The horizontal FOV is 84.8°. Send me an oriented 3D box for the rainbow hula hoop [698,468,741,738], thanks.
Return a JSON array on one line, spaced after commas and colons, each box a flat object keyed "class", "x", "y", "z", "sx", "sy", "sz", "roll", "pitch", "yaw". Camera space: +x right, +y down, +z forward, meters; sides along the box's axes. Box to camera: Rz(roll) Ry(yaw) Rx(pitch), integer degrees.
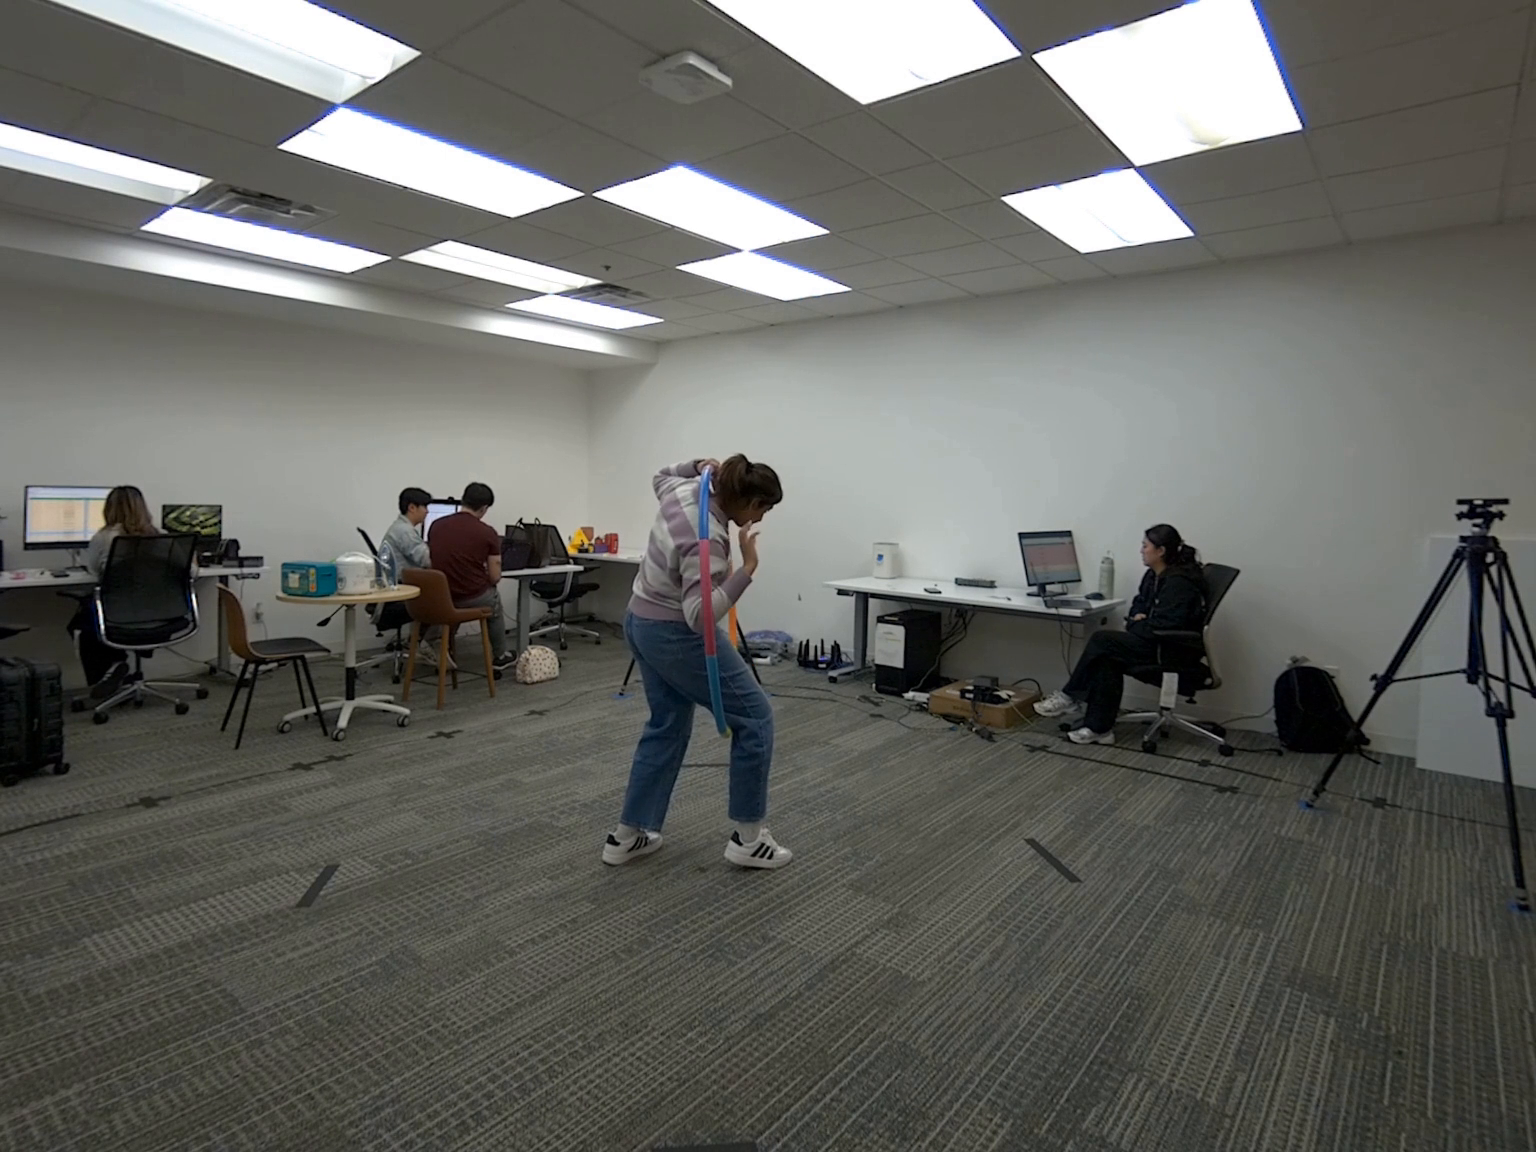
[{"class": "rainbow hula hoop", "x": -0.188, "y": 0.082, "z": 3.122, "sx": 0.052, "sy": 0.982, "sz": 0.985, "roll": -2, "pitch": 4, "yaw": 1}]
